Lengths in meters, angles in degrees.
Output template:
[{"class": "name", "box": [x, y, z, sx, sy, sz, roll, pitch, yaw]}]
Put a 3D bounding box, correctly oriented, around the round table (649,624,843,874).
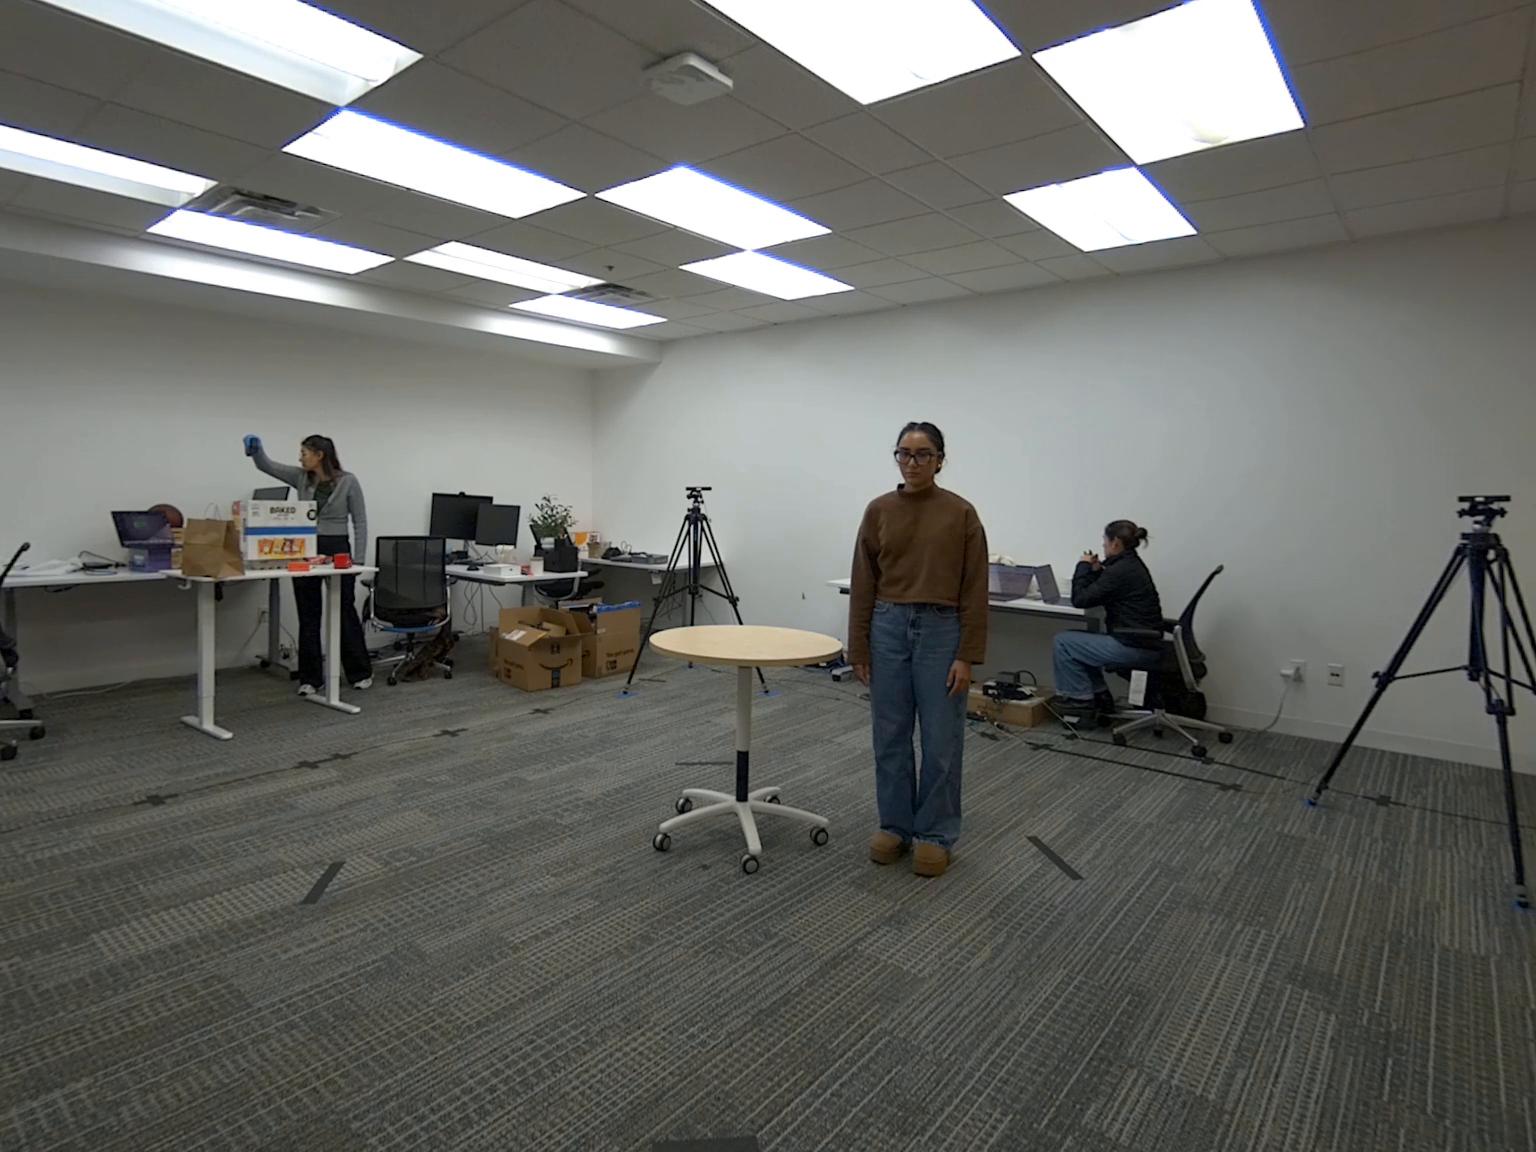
[{"class": "round table", "box": [-0.111, 0.649, 3.408, 0.763, 0.792, 0.767, 1, 4, -2]}]
